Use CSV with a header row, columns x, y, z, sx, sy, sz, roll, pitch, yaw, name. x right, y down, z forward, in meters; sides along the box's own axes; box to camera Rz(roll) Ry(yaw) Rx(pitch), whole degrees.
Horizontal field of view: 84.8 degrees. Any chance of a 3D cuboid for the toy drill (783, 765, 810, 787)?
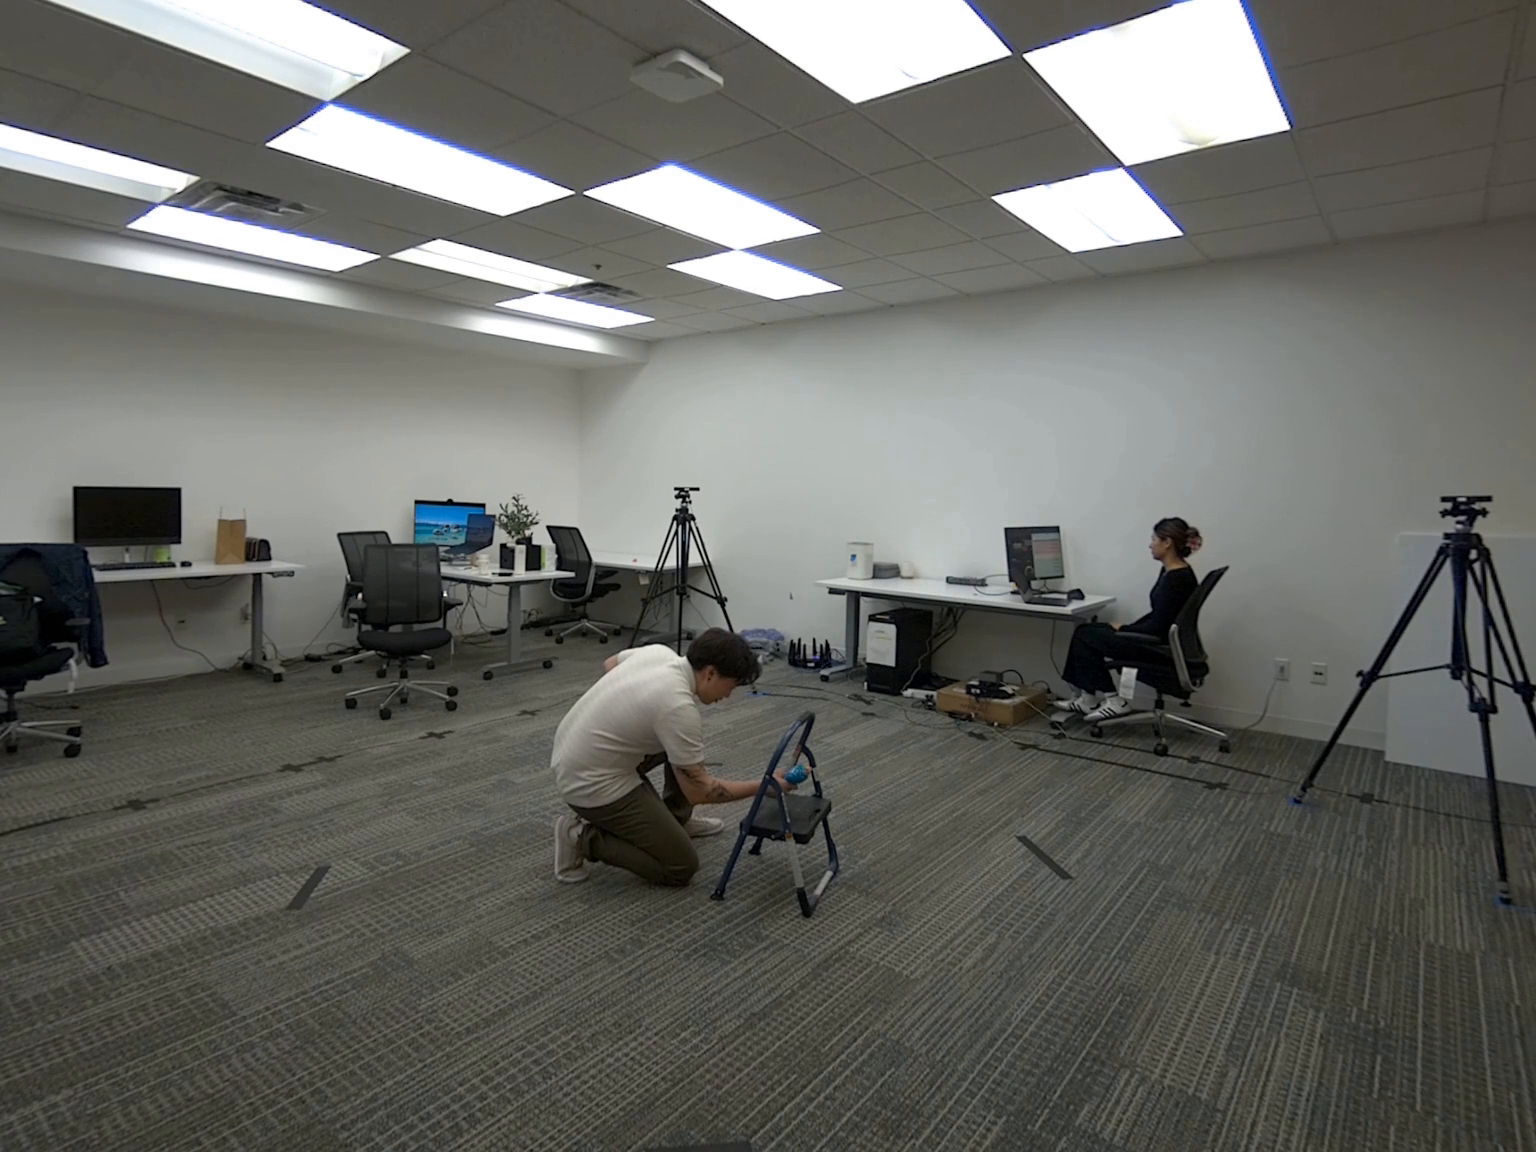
x,y,z,sx,sy,sz,roll,pitch,yaw,name
0.075,0.721,3.029,0.147,0.062,0.165,-30,-14,30,toy drill
